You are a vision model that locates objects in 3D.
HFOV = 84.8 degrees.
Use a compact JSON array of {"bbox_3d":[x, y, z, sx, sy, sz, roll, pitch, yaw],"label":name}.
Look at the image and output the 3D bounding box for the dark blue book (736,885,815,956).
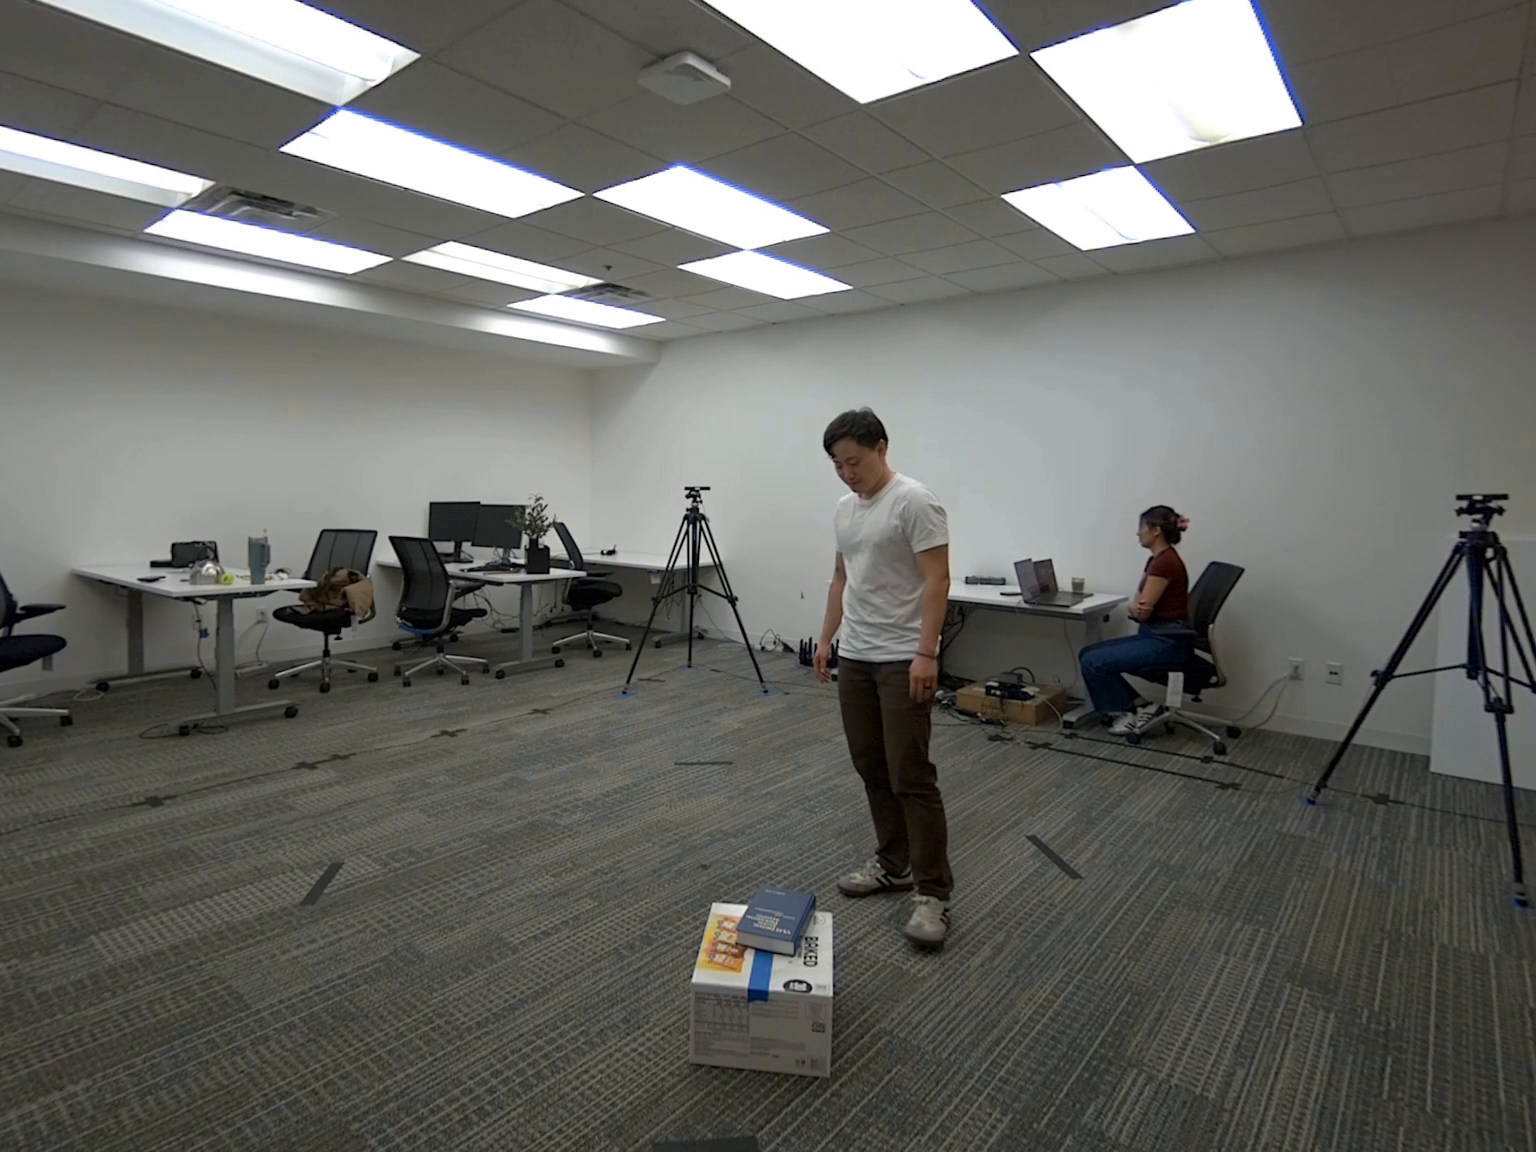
[{"bbox_3d":[0.015,0.933,2.306,0.166,0.045,0.242,3,9,17],"label":"dark blue book"}]
